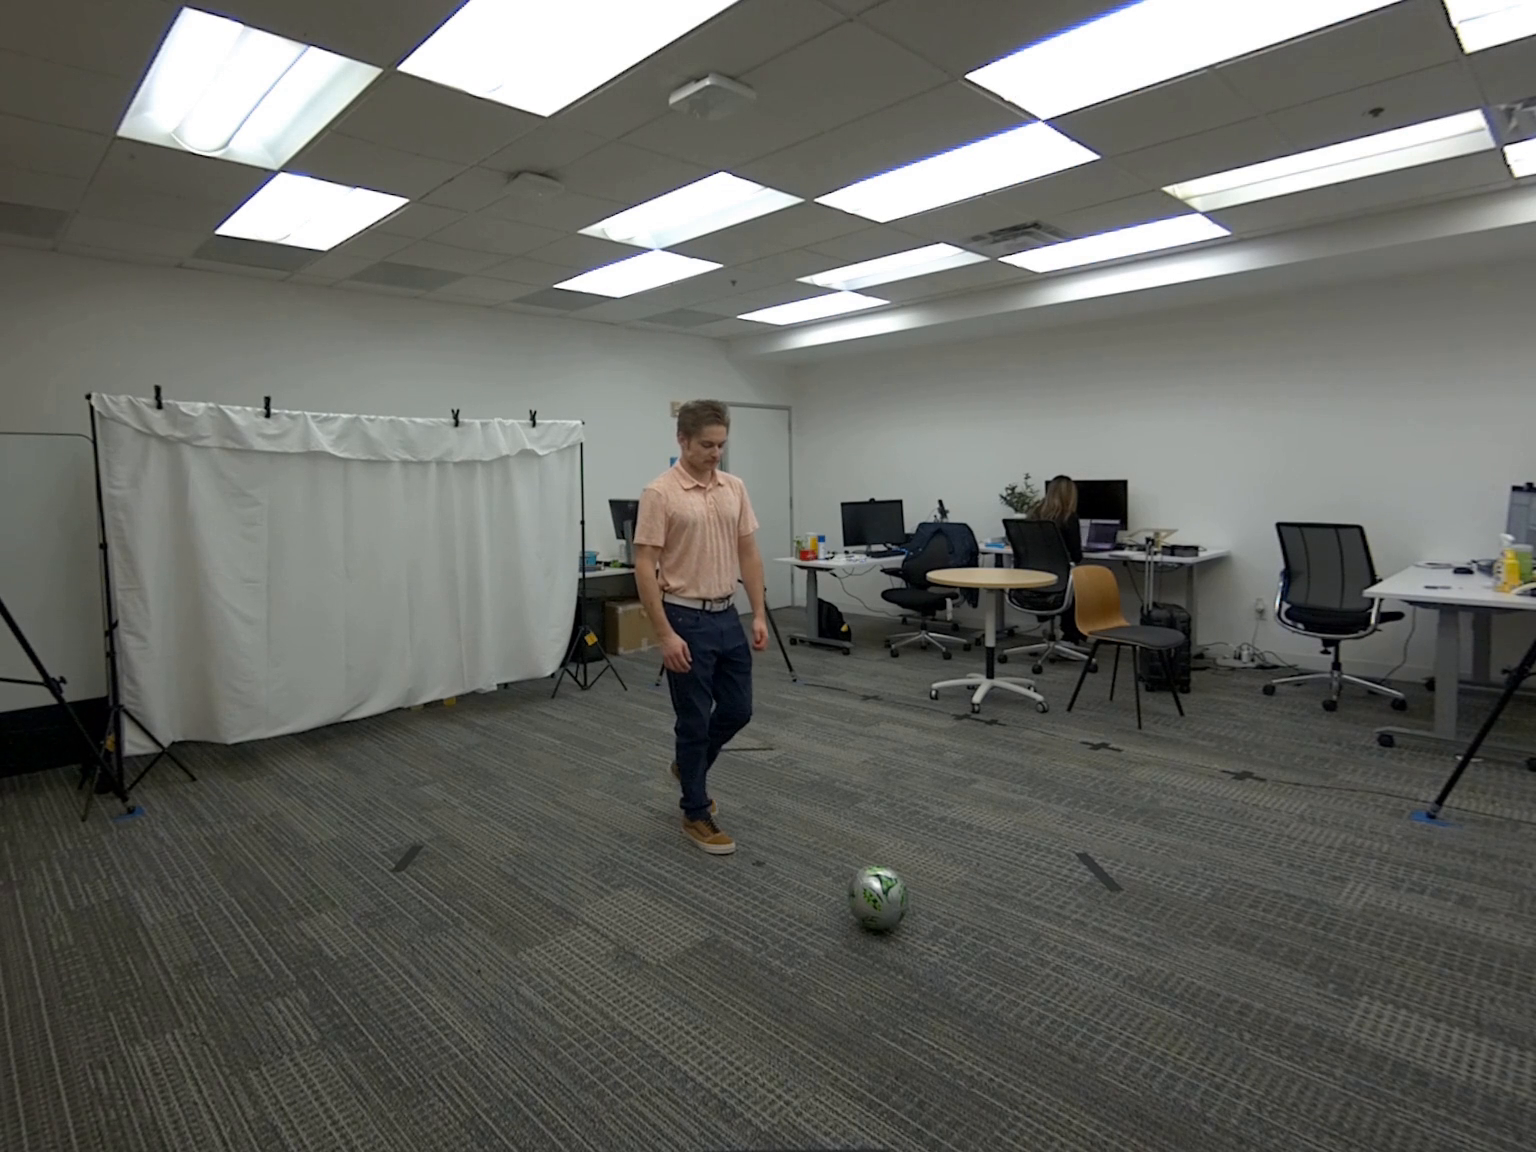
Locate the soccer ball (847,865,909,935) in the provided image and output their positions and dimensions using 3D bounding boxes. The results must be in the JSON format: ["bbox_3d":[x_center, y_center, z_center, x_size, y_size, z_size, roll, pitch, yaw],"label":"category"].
[{"bbox_3d":[0.345,0.997,2.653,0.187,0.187,0.188,-1,5,-2],"label":"soccer ball"}]
